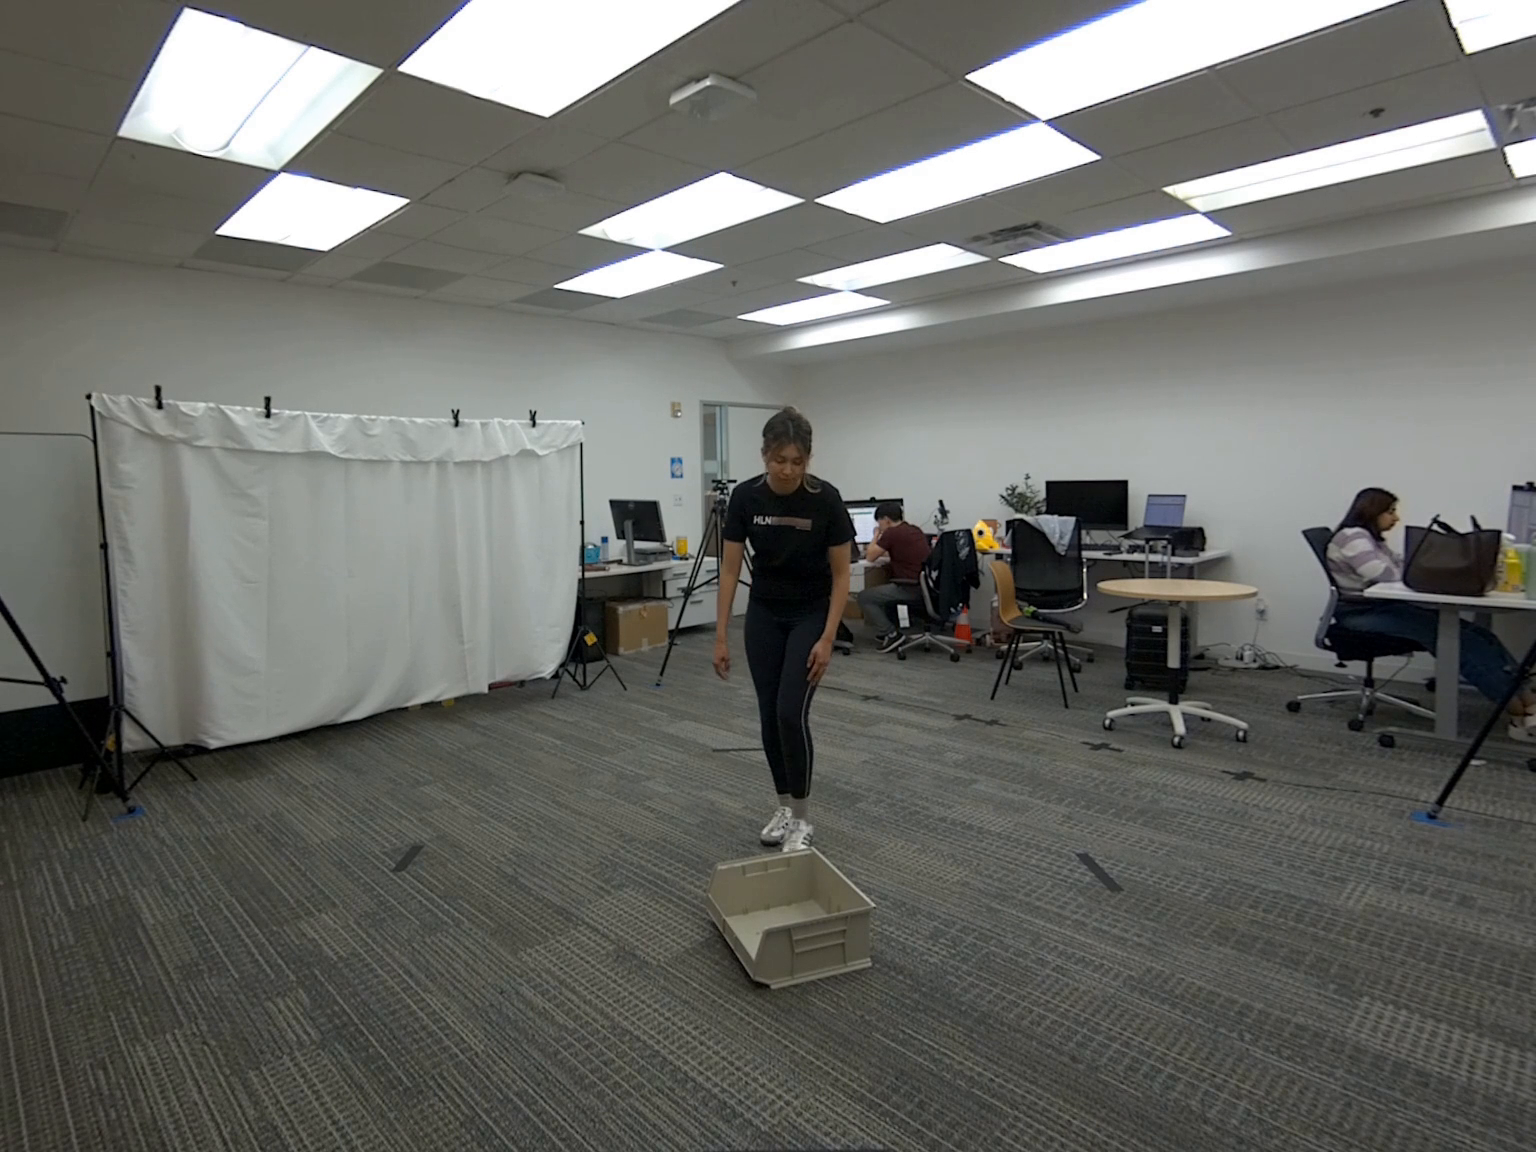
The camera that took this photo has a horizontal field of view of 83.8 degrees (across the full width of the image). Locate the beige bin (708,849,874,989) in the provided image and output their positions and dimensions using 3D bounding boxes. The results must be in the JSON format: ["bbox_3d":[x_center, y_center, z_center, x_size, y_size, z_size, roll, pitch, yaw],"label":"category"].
[{"bbox_3d":[0.061,1.022,2.568,0.370,0.188,0.432,-3,5,-21],"label":"beige bin"}]
